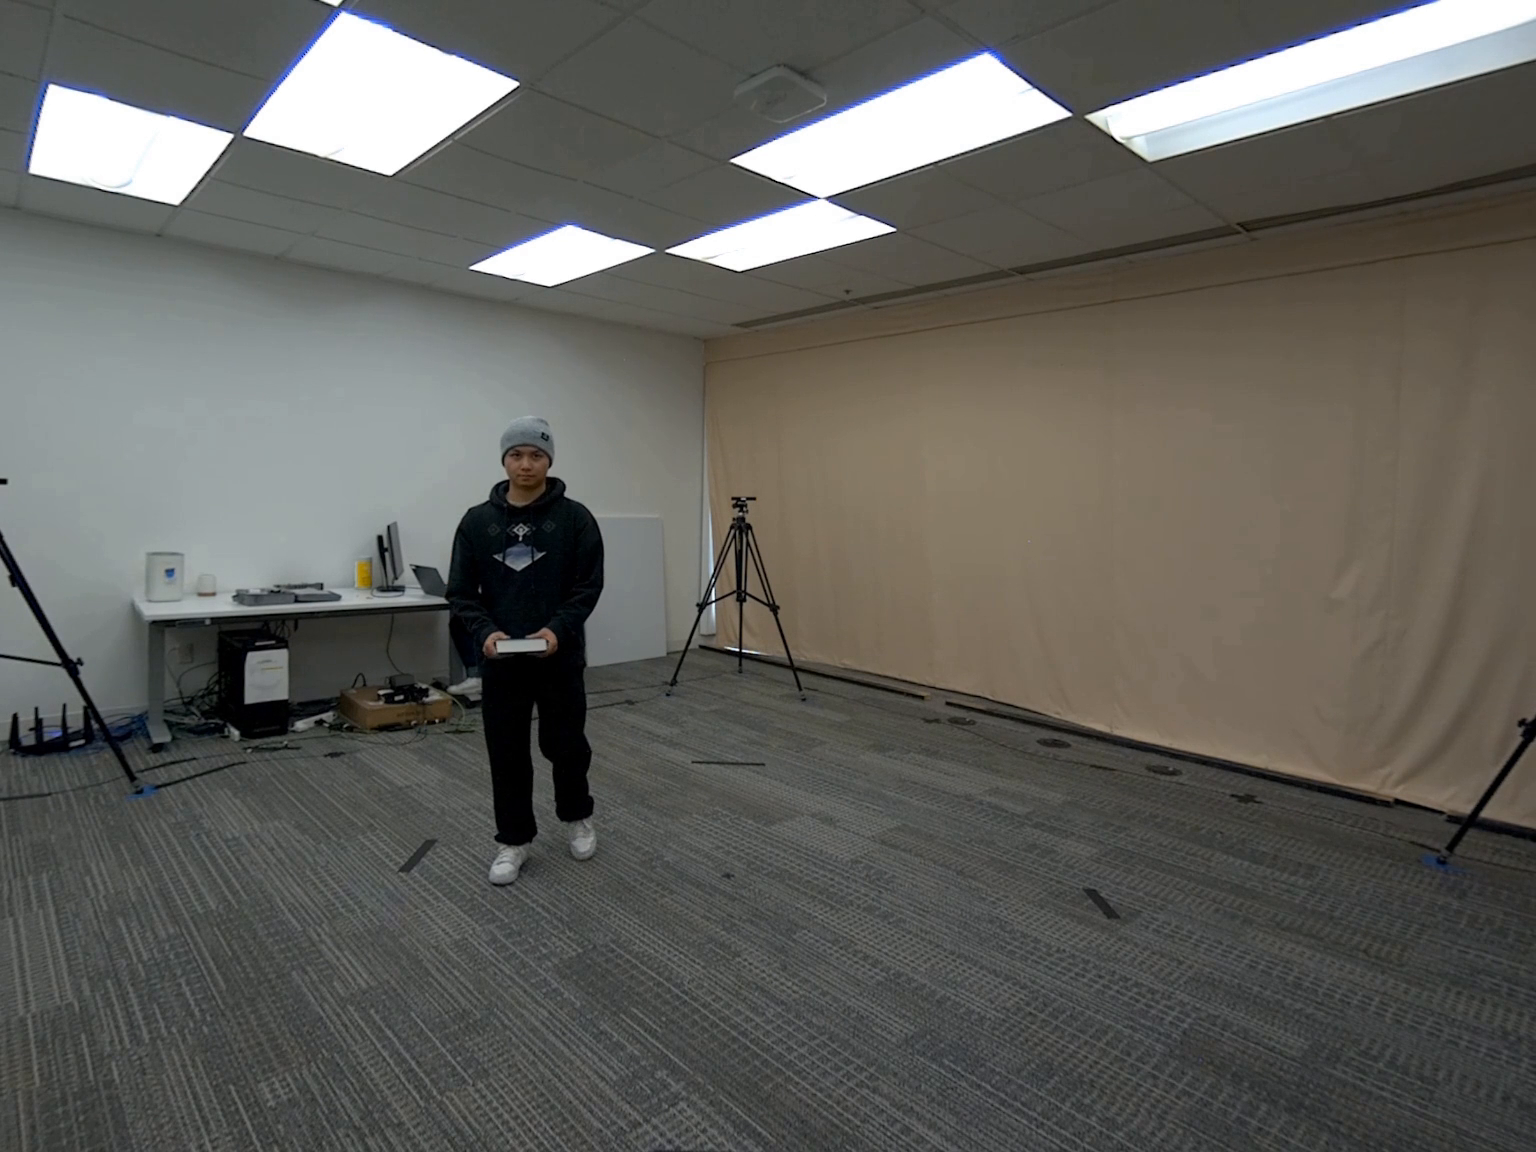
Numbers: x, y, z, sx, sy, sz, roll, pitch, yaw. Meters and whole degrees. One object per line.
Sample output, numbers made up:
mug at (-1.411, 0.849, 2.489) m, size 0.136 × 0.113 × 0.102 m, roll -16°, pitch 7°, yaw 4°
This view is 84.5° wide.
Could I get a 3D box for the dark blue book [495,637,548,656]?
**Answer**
dark blue book at (-0.843, 0.234, 2.801) m, size 0.162 × 0.045 × 0.246 m, roll -1°, pitch -5°, yaw -14°
